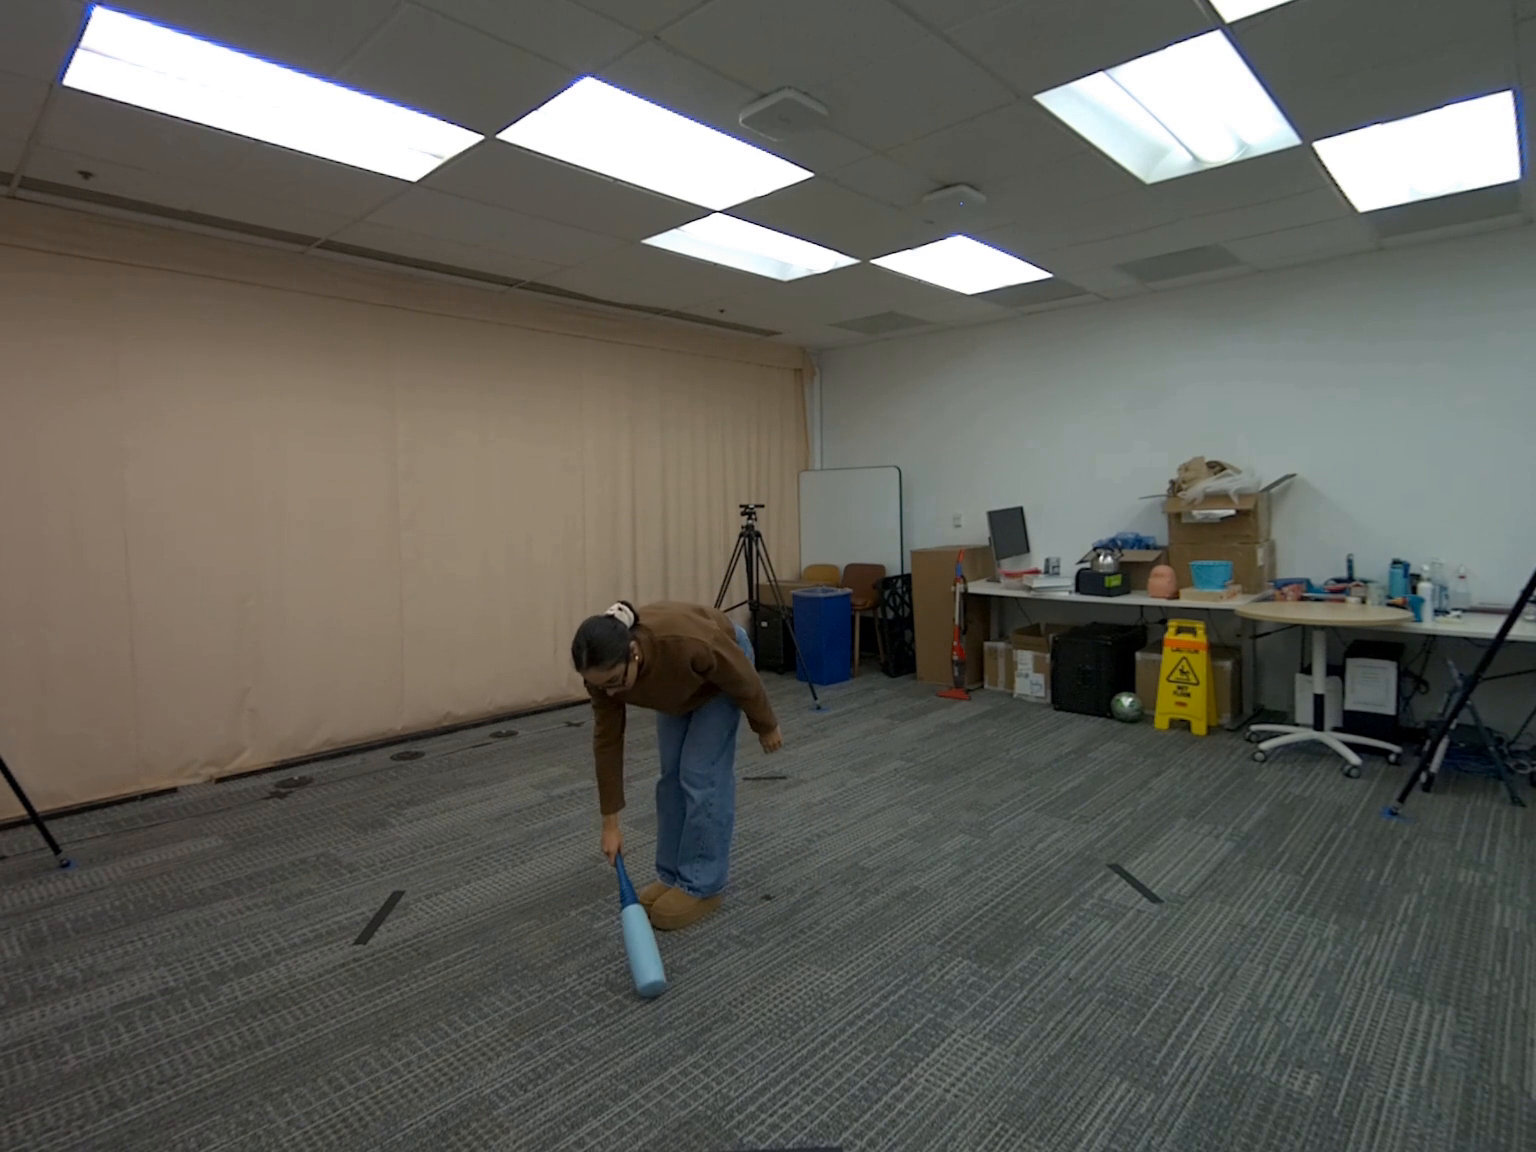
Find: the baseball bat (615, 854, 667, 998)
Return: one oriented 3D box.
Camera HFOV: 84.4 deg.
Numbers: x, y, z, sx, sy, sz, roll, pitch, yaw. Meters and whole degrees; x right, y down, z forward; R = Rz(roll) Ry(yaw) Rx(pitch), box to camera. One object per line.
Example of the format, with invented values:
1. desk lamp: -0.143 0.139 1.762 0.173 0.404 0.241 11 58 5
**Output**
1. baseball bat: -0.403 0.989 2.580 0.087 0.088 0.560 -3 36 -22
